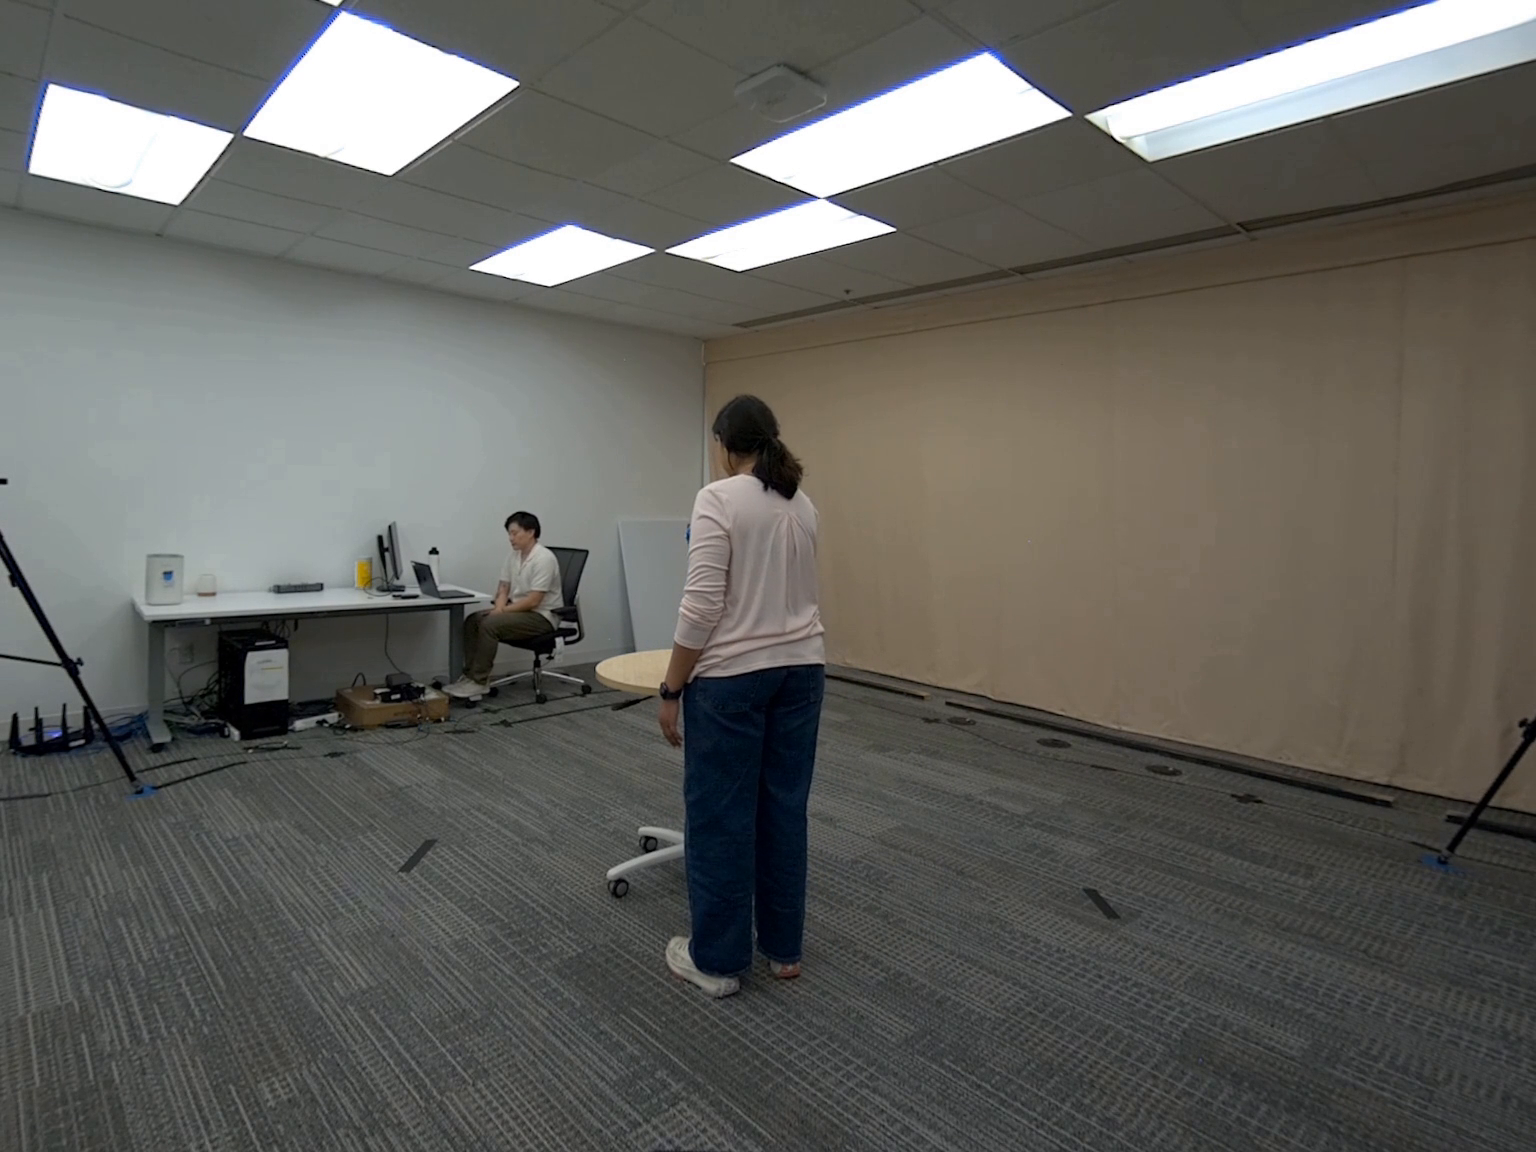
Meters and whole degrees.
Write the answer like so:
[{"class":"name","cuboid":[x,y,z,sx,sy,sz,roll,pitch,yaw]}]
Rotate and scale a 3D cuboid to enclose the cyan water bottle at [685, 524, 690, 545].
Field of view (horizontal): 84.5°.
[{"class":"cyan water bottle","cuboid":[-0.231,-0.077,2.854,0.092,0.276,0.094,-3,43,1]}]
